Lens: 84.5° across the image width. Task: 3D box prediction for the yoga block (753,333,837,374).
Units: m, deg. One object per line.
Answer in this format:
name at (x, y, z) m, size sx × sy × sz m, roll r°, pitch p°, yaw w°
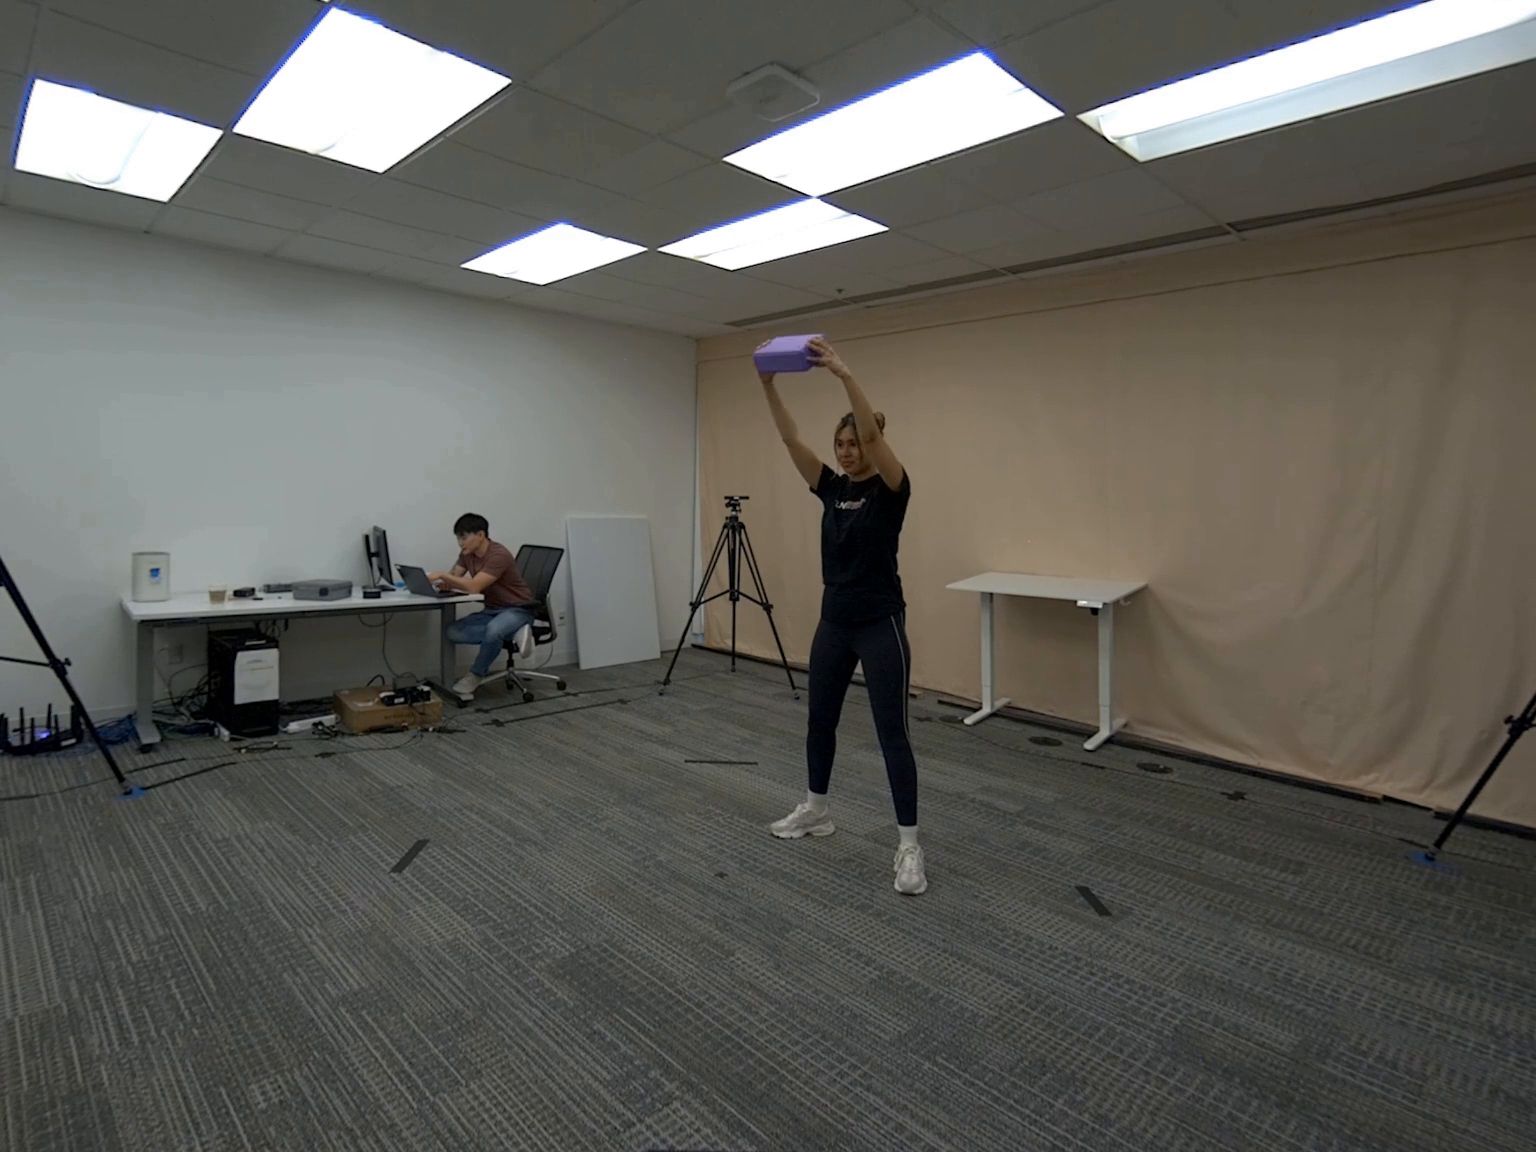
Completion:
yoga block at (0.090, -0.761, 2.892) m, size 0.236 × 0.074 × 0.148 m, roll 12°, pitch 42°, yaw 43°
